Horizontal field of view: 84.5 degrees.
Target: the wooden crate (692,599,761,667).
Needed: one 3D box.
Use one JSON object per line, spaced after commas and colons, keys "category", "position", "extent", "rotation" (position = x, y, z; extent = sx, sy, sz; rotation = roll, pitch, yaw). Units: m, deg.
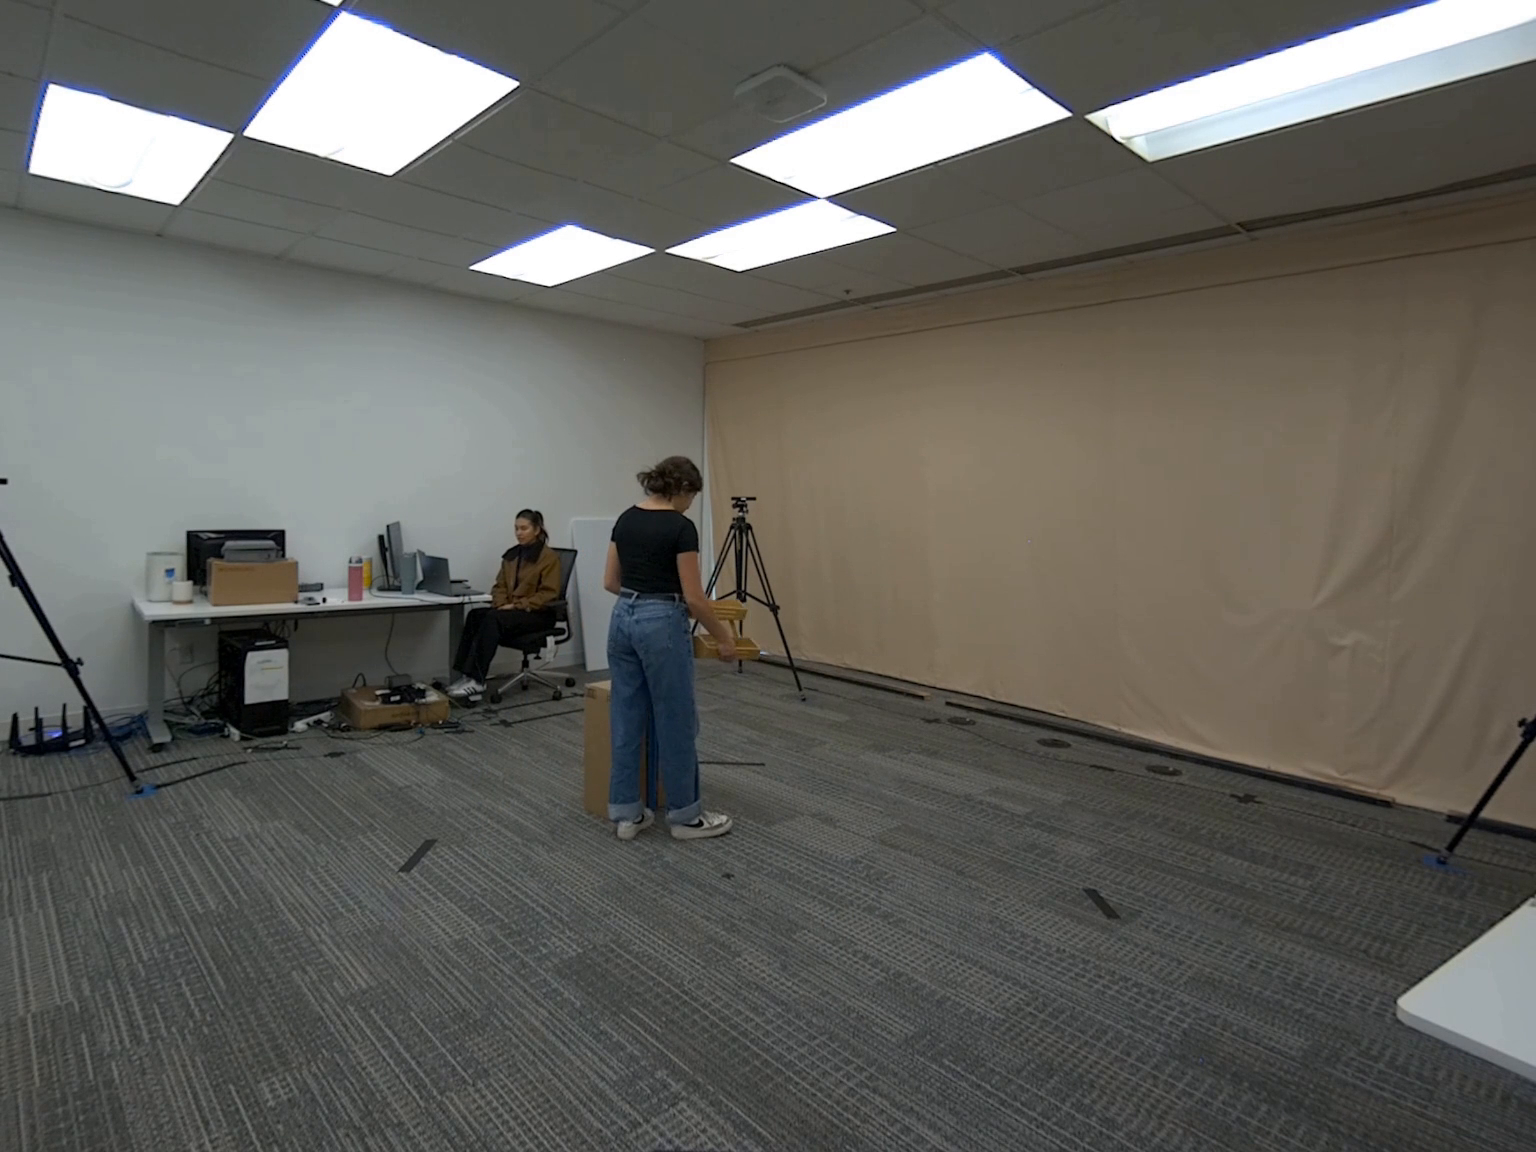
{"category": "wooden crate", "position": [-0.237, 0.220, 3.623], "extent": [0.309, 0.274, 0.316], "rotation": [-3, -7, 40]}
